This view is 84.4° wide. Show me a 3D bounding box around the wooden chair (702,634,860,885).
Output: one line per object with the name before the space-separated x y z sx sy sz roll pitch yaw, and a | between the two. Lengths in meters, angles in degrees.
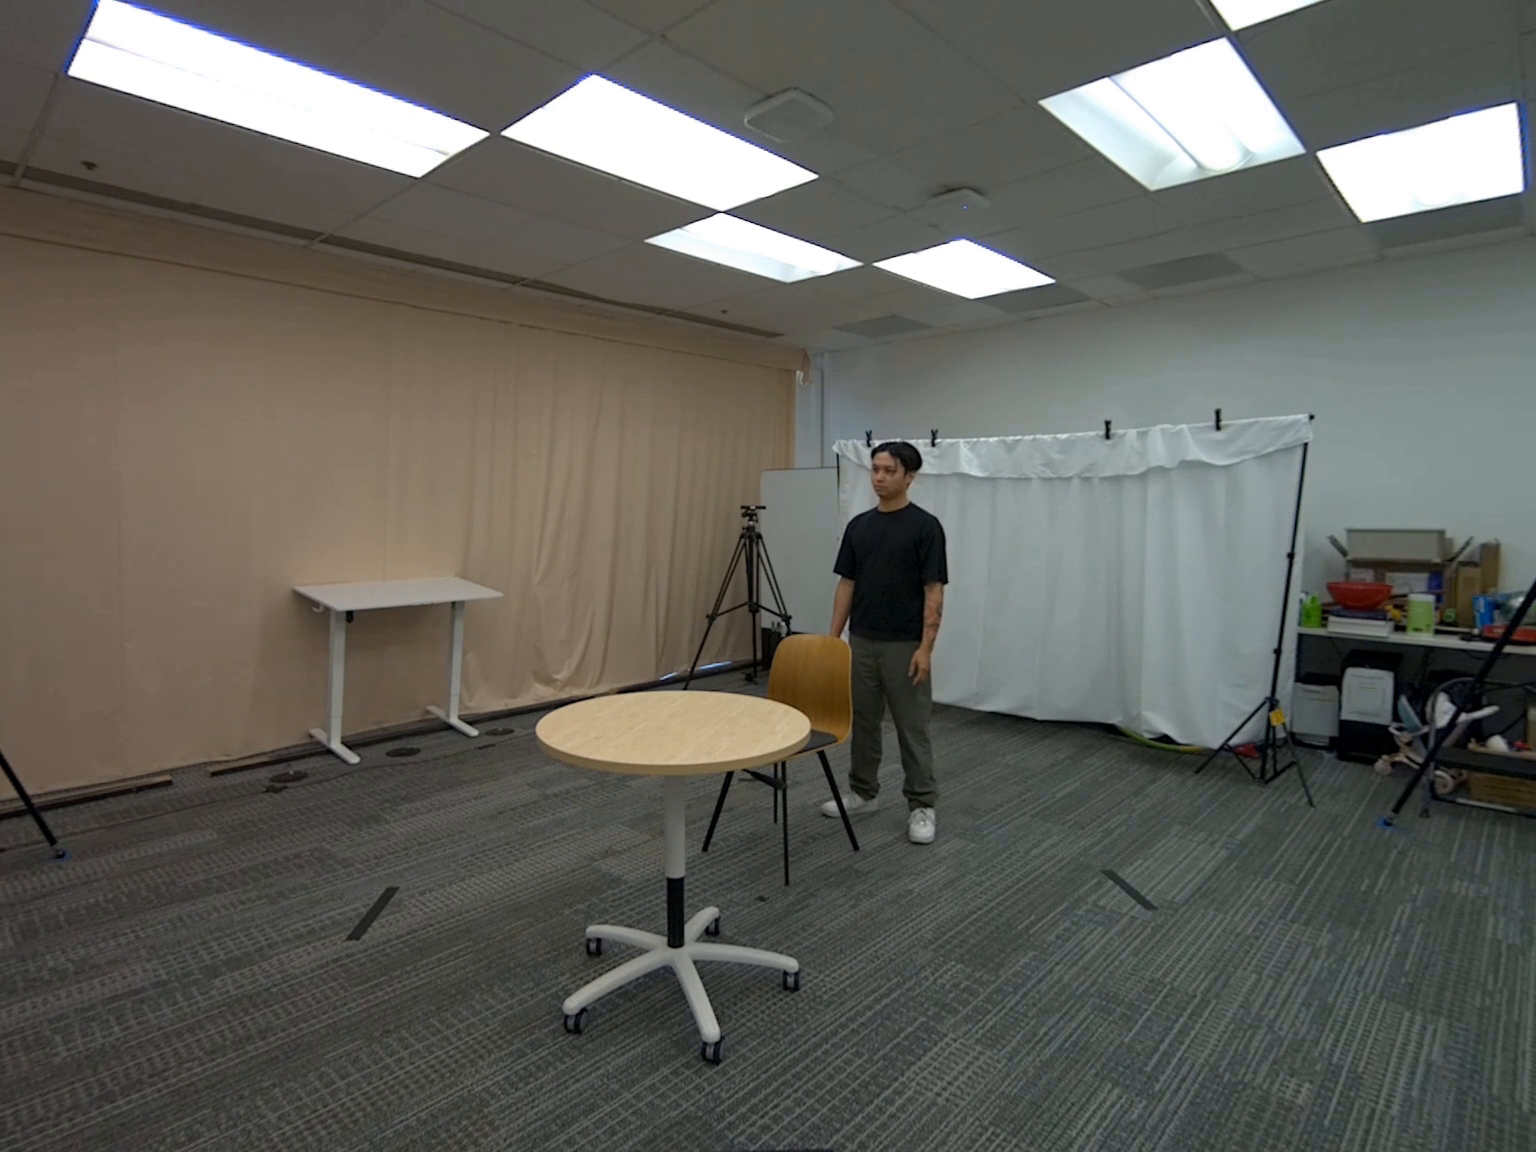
wooden chair | 0.049 0.686 3.355 0.494 0.877 0.506 3 1 43
